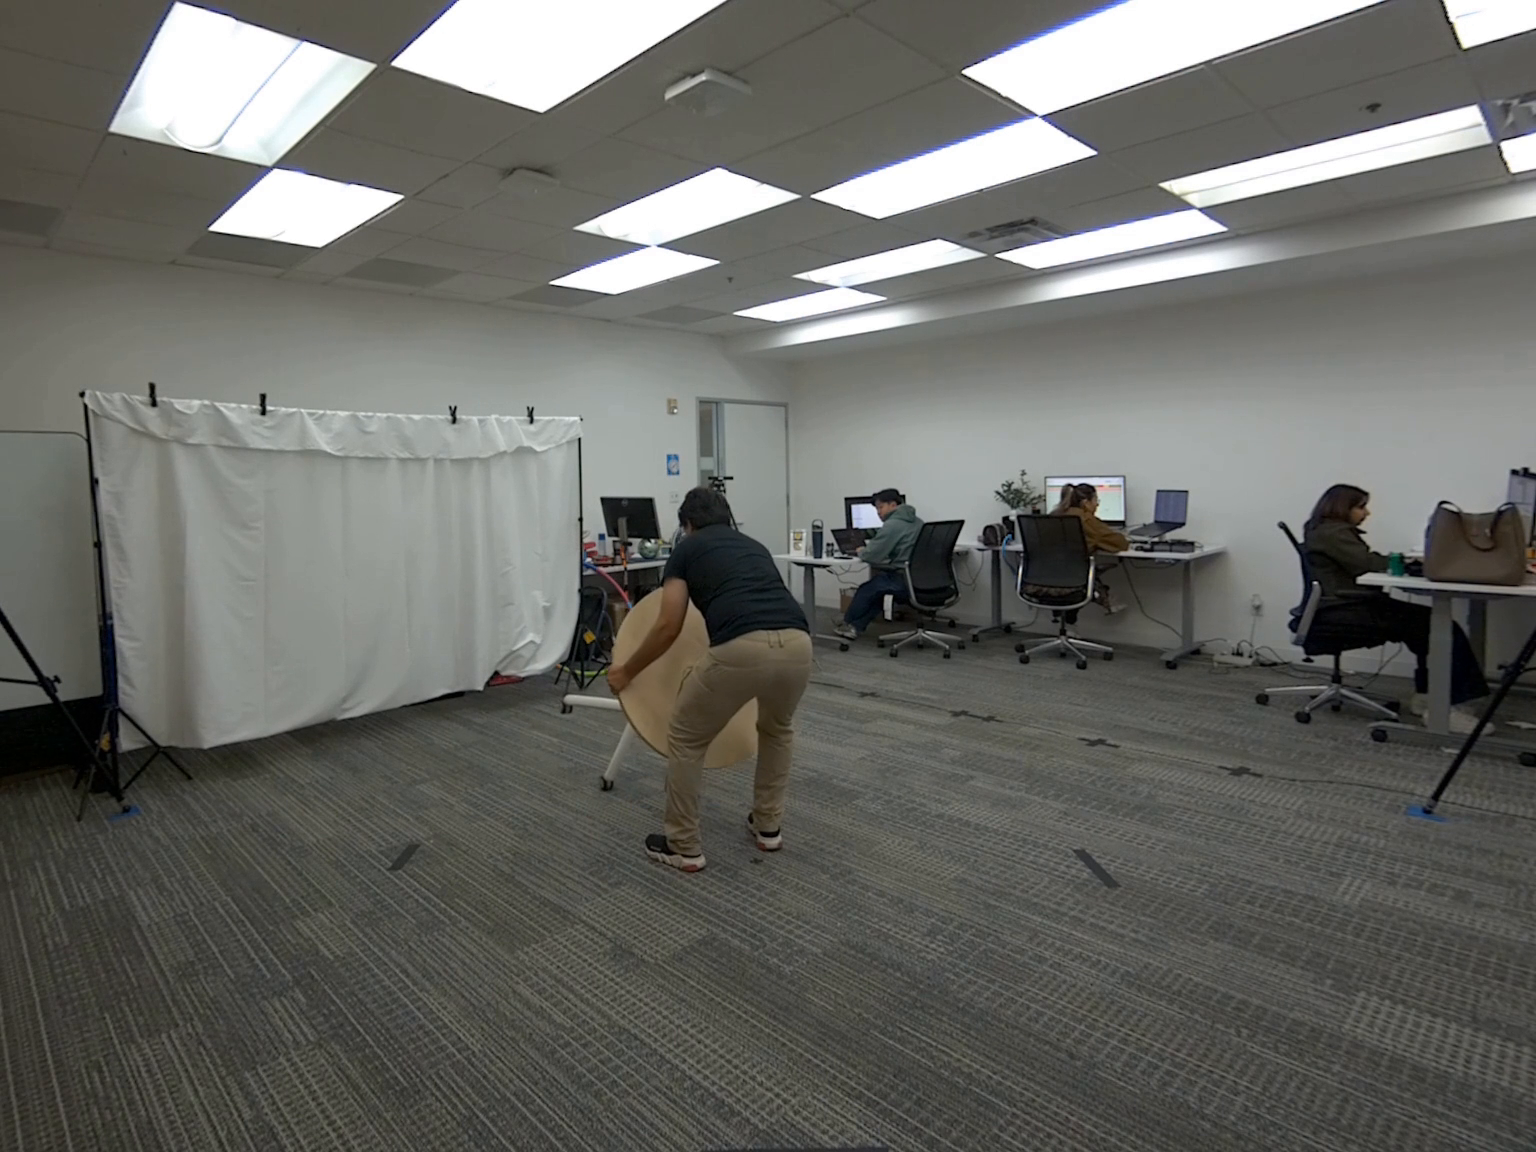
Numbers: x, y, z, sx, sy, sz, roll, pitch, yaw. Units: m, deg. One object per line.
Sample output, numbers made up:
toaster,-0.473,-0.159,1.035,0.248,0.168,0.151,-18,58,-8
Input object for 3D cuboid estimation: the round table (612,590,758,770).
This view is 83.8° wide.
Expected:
round table,-0.452,0.519,3.776,0.766,0.800,0.791,-4,-20,-33
